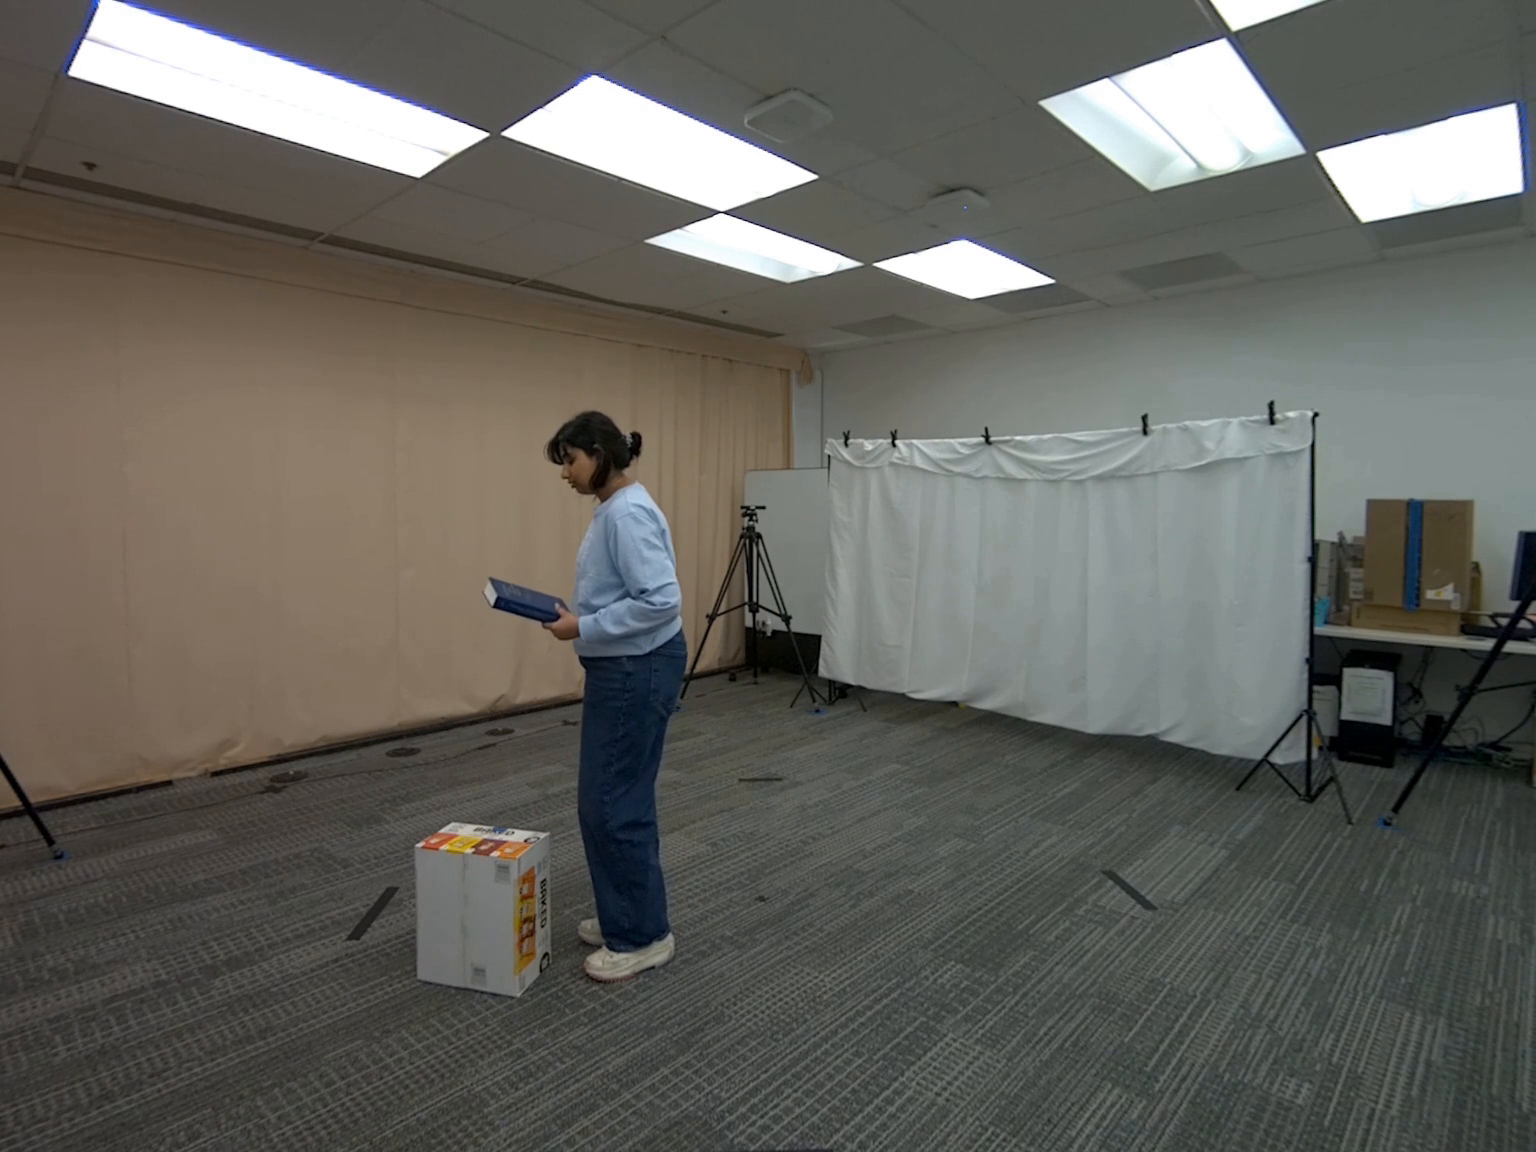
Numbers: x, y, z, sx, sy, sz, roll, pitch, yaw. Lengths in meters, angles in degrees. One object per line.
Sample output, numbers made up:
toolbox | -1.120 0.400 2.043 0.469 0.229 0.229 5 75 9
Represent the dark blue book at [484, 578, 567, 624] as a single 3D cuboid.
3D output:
dark blue book | -0.725 0.086 2.529 0.237 0.045 0.169 20 7 -31
